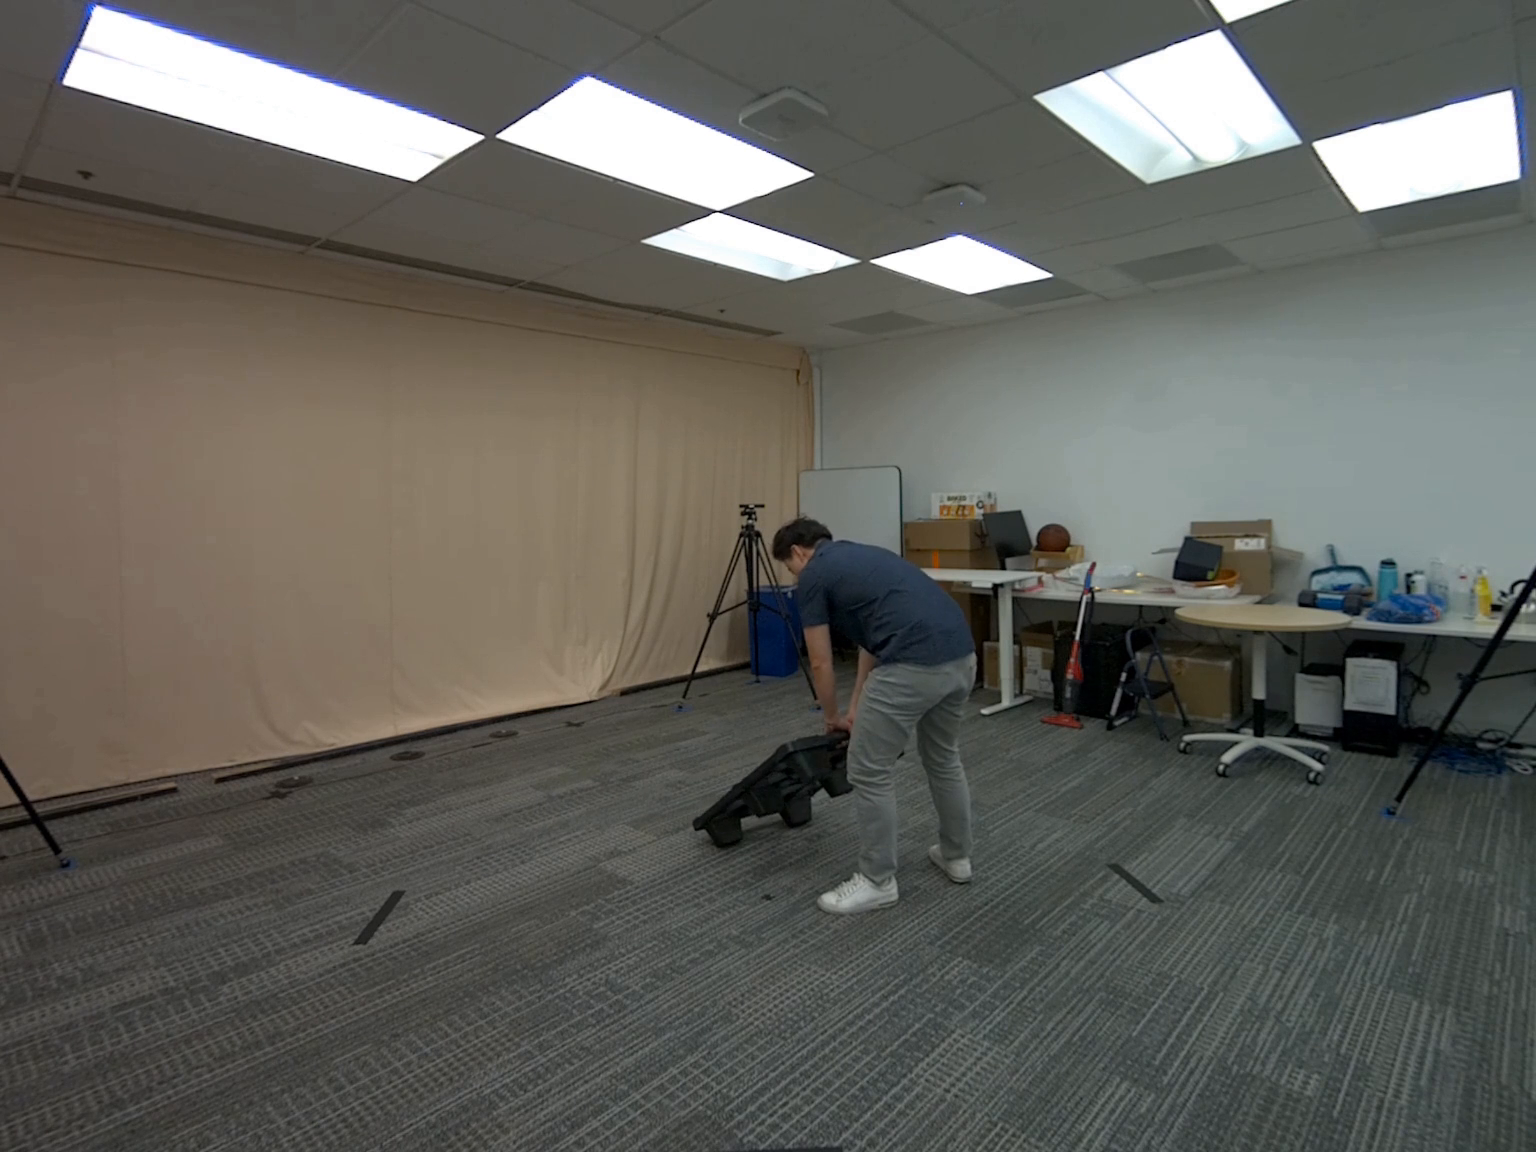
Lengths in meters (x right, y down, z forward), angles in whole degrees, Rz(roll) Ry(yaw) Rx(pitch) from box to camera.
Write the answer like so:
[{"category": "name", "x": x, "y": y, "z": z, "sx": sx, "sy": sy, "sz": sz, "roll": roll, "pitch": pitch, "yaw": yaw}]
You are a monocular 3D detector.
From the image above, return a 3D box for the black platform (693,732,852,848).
[{"category": "black platform", "x": 0.133, "y": 0.829, "z": 3.329, "sx": 0.588, "sy": 0.147, "sz": 0.809, "roll": -4, "pitch": -32, "yaw": -36}]
